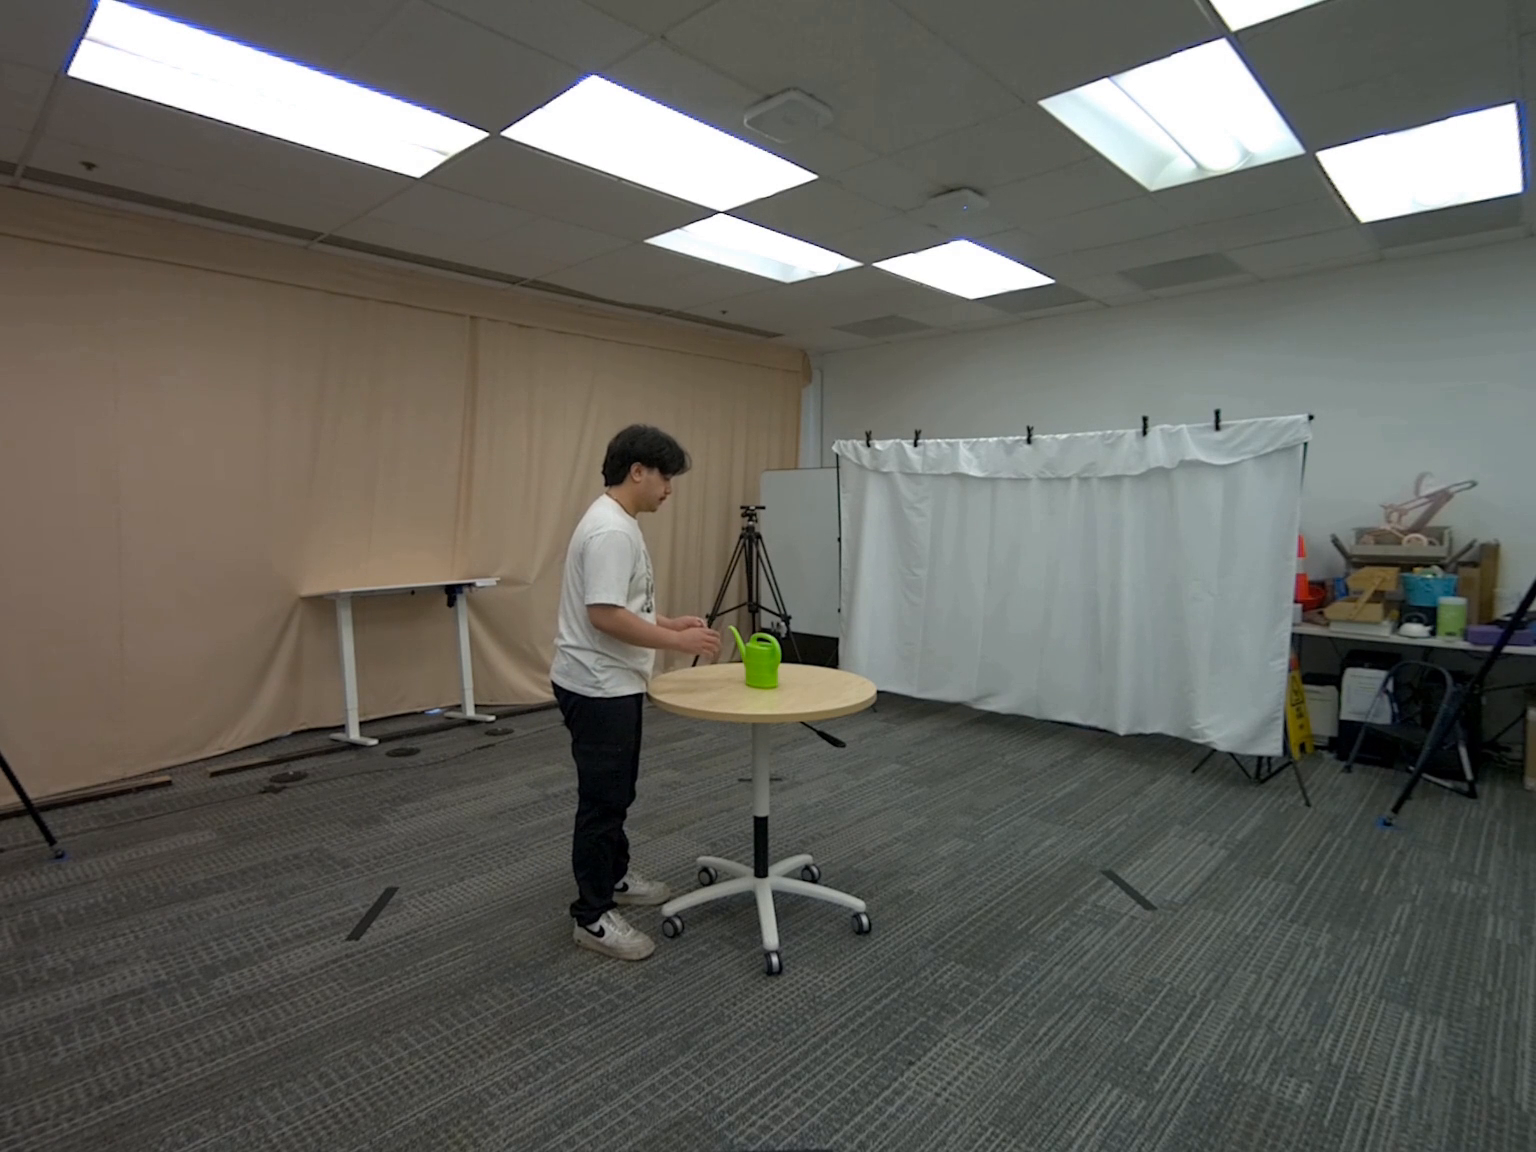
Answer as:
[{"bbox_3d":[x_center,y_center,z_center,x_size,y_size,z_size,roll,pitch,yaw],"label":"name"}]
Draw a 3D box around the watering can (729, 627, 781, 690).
[{"bbox_3d":[-0.037,0.275,2.837,0.095,0.176,0.286,0,5,-26],"label":"watering can"}]
